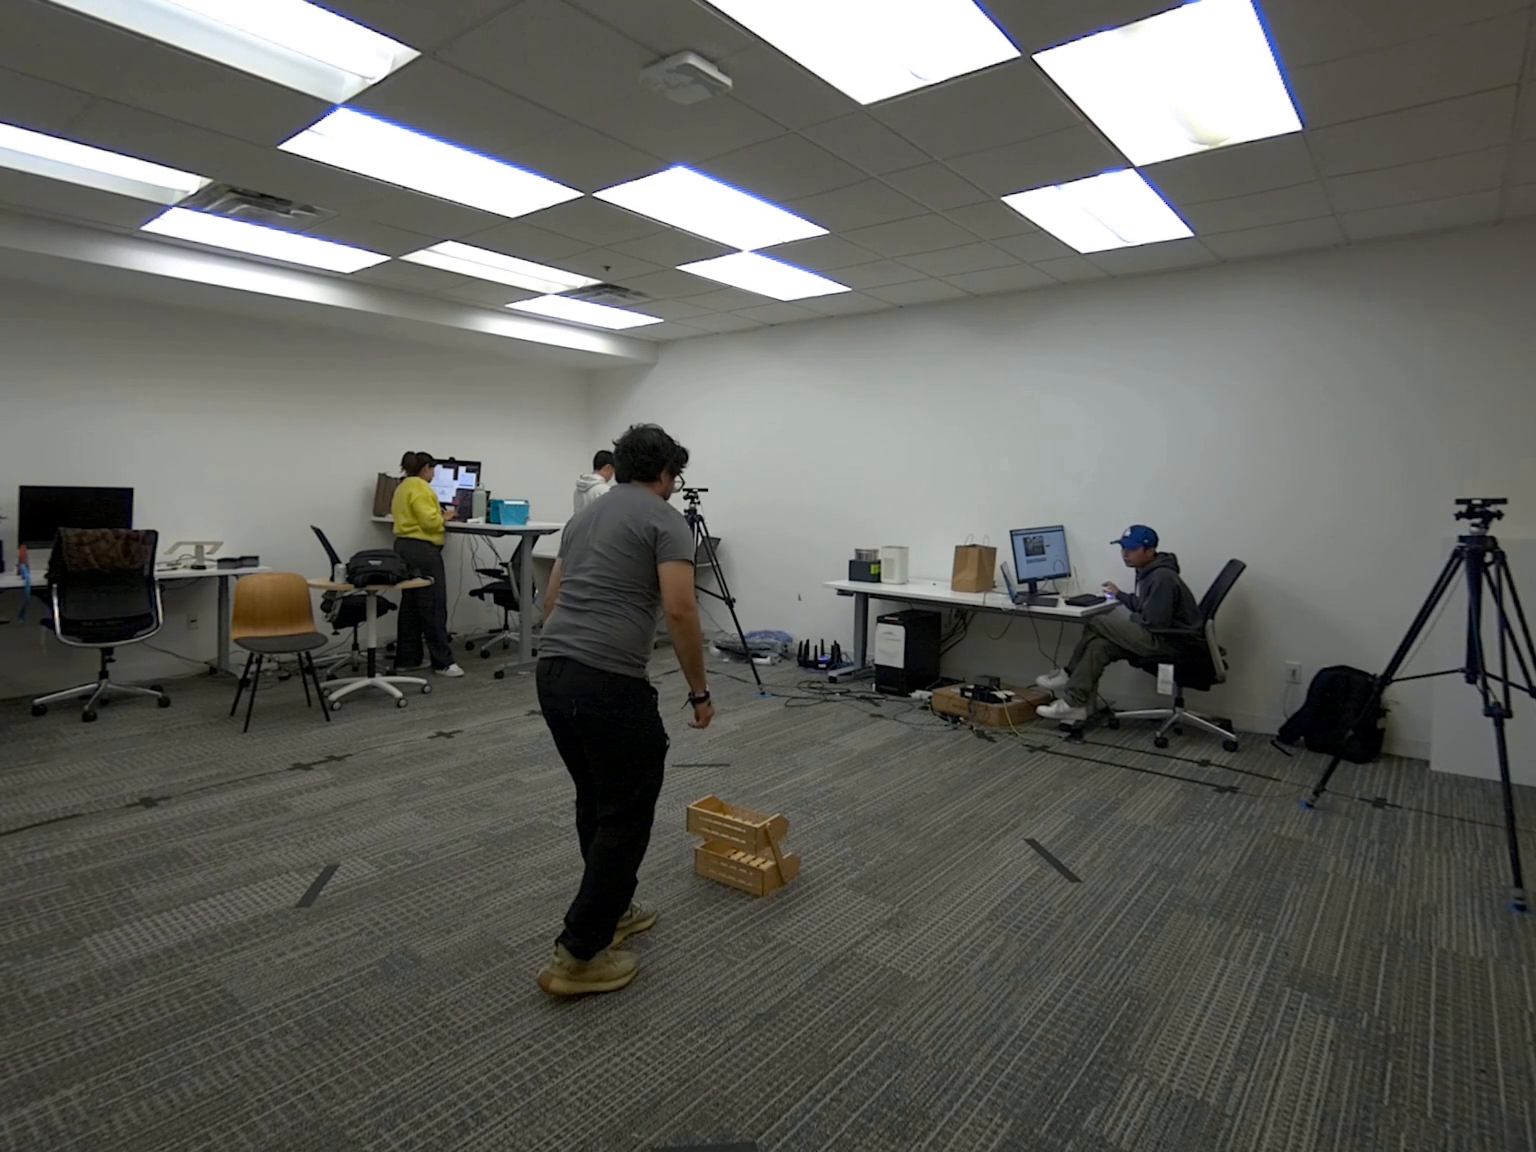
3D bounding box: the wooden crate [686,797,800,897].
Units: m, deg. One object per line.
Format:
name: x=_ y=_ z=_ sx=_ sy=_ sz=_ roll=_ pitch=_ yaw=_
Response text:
wooden crate: x=-0.094 y=0.942 z=3.063 sx=0.335 sy=0.272 sz=0.294 roll=4 pitch=5 yaw=34
